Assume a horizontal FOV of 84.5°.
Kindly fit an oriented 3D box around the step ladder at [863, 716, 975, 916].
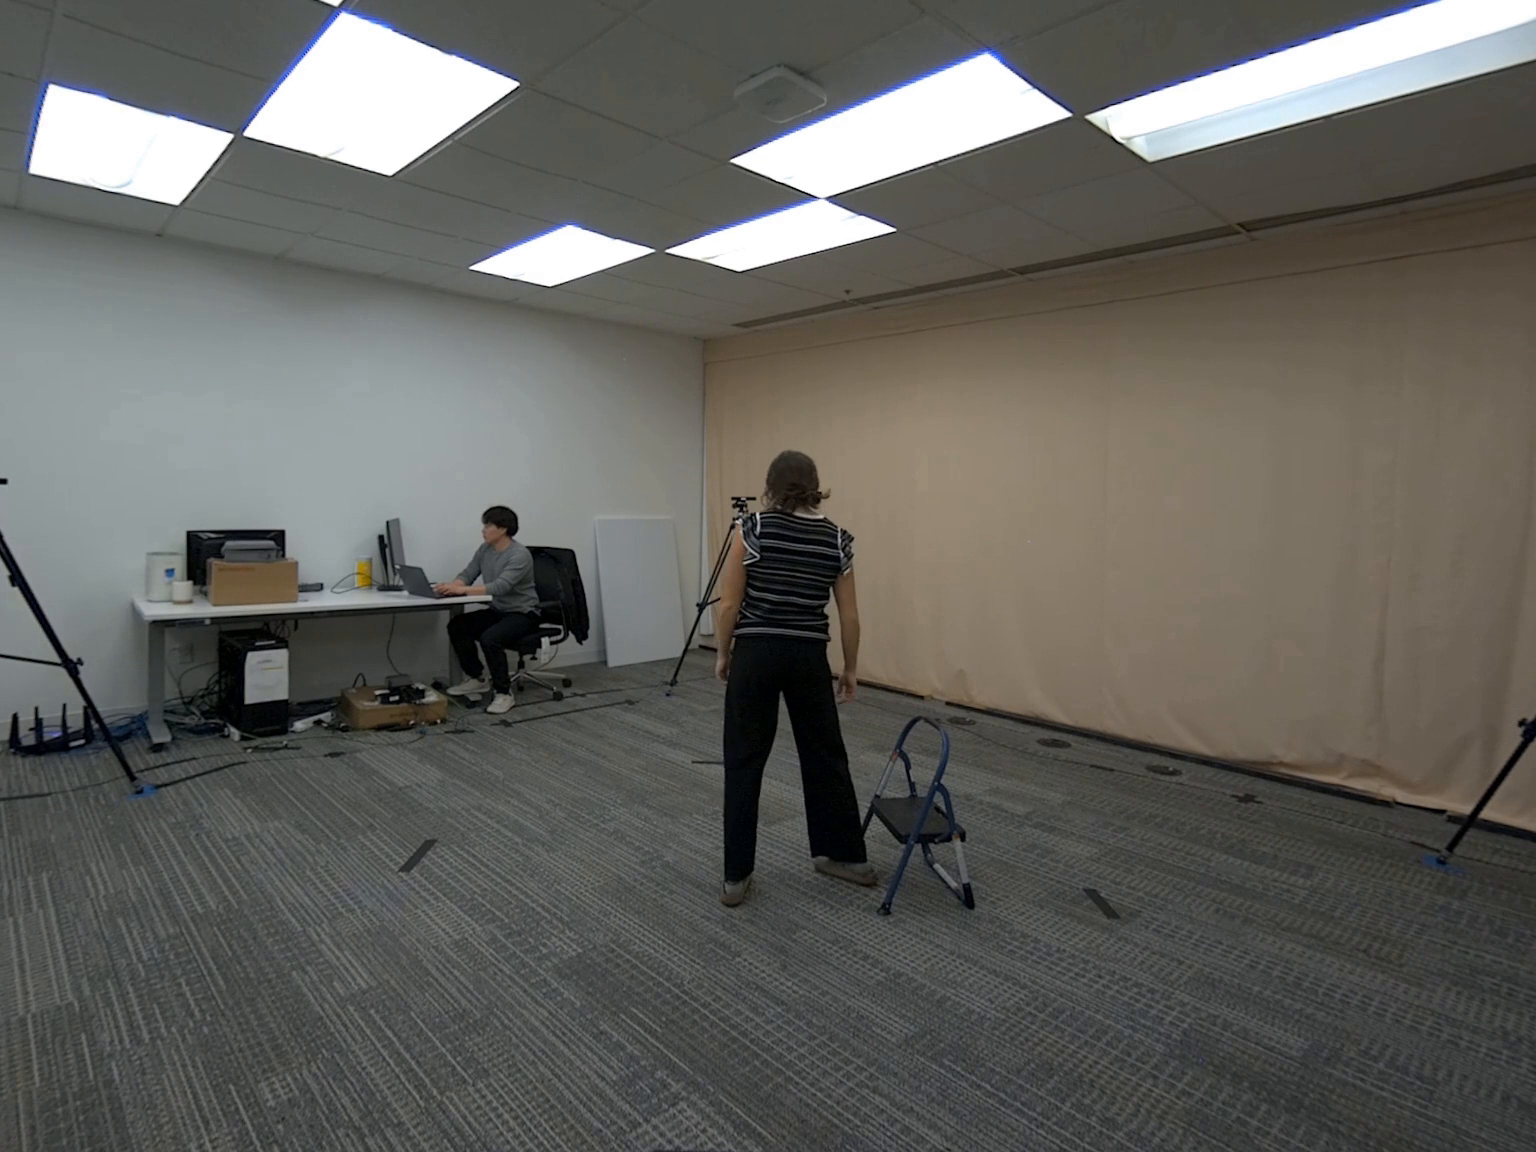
[{"bbox_3d":[0.508,0.828,3.054,0.346,0.604,0.435,0,4,-11],"label":"step ladder"}]
